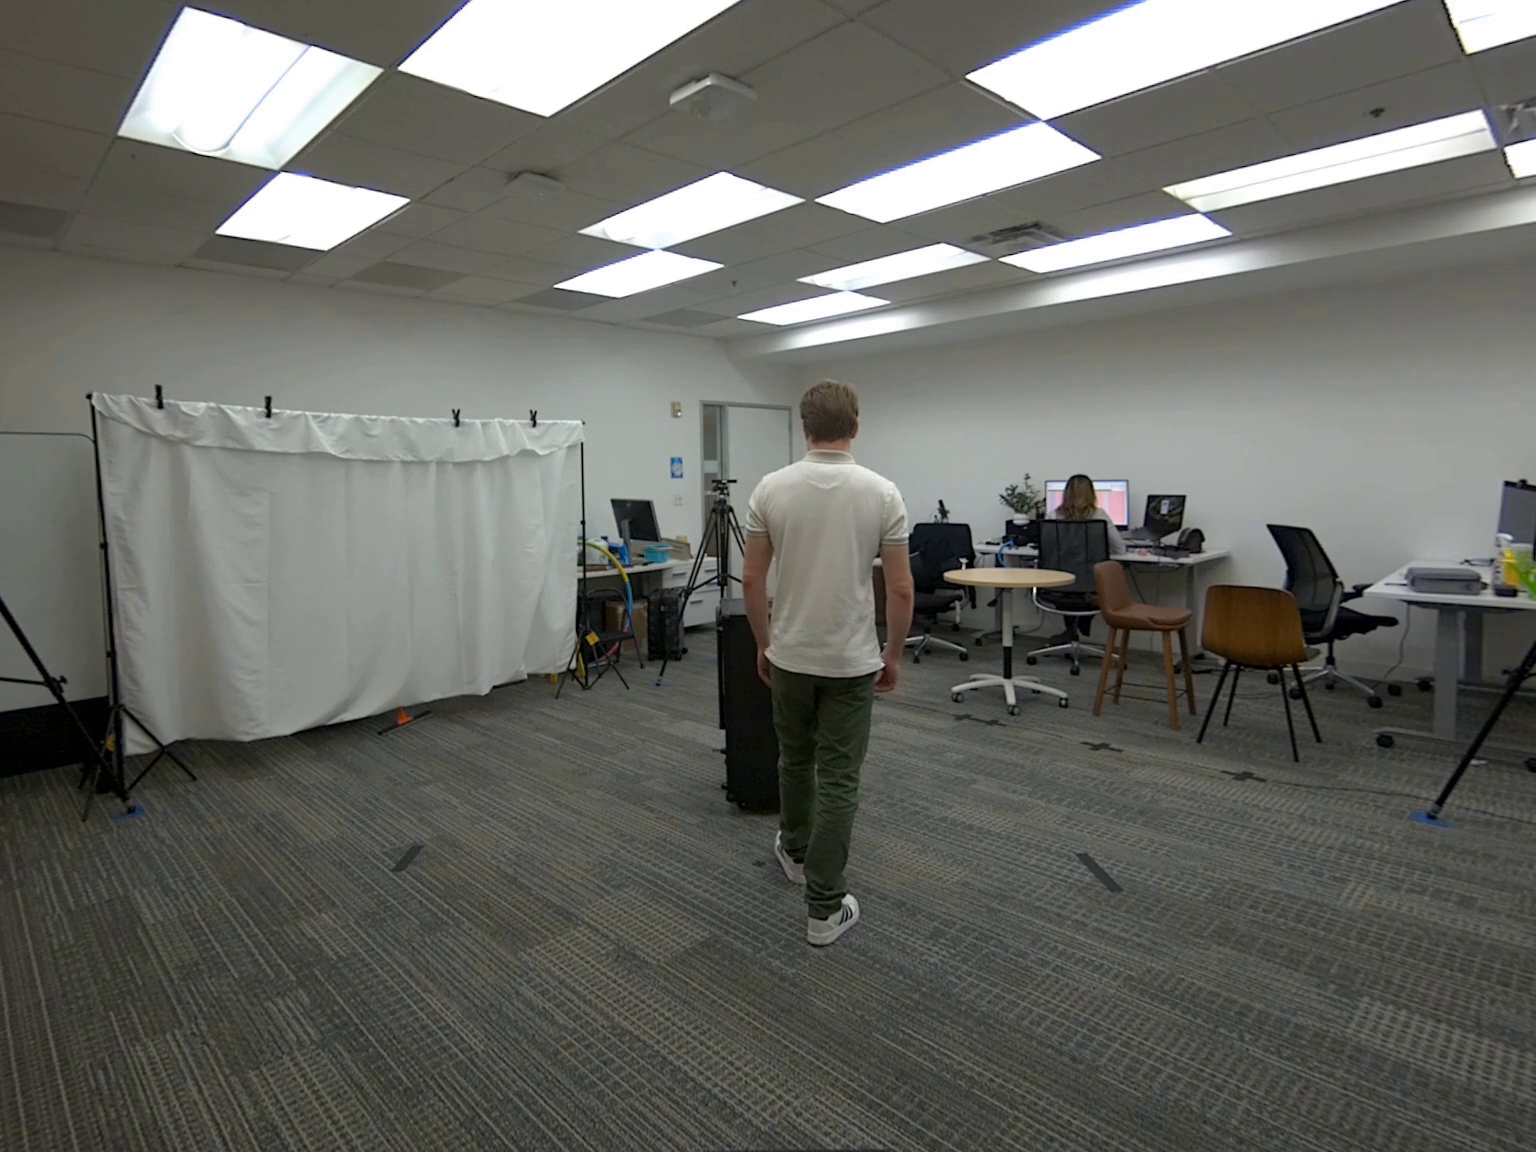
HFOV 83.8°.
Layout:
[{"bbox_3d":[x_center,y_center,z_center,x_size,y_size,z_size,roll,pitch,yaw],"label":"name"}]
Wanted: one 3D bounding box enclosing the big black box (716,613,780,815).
[{"bbox_3d":[-0.015,0.552,3.745,0.385,0.866,0.526,-1,4,-2],"label":"big black box"}]
